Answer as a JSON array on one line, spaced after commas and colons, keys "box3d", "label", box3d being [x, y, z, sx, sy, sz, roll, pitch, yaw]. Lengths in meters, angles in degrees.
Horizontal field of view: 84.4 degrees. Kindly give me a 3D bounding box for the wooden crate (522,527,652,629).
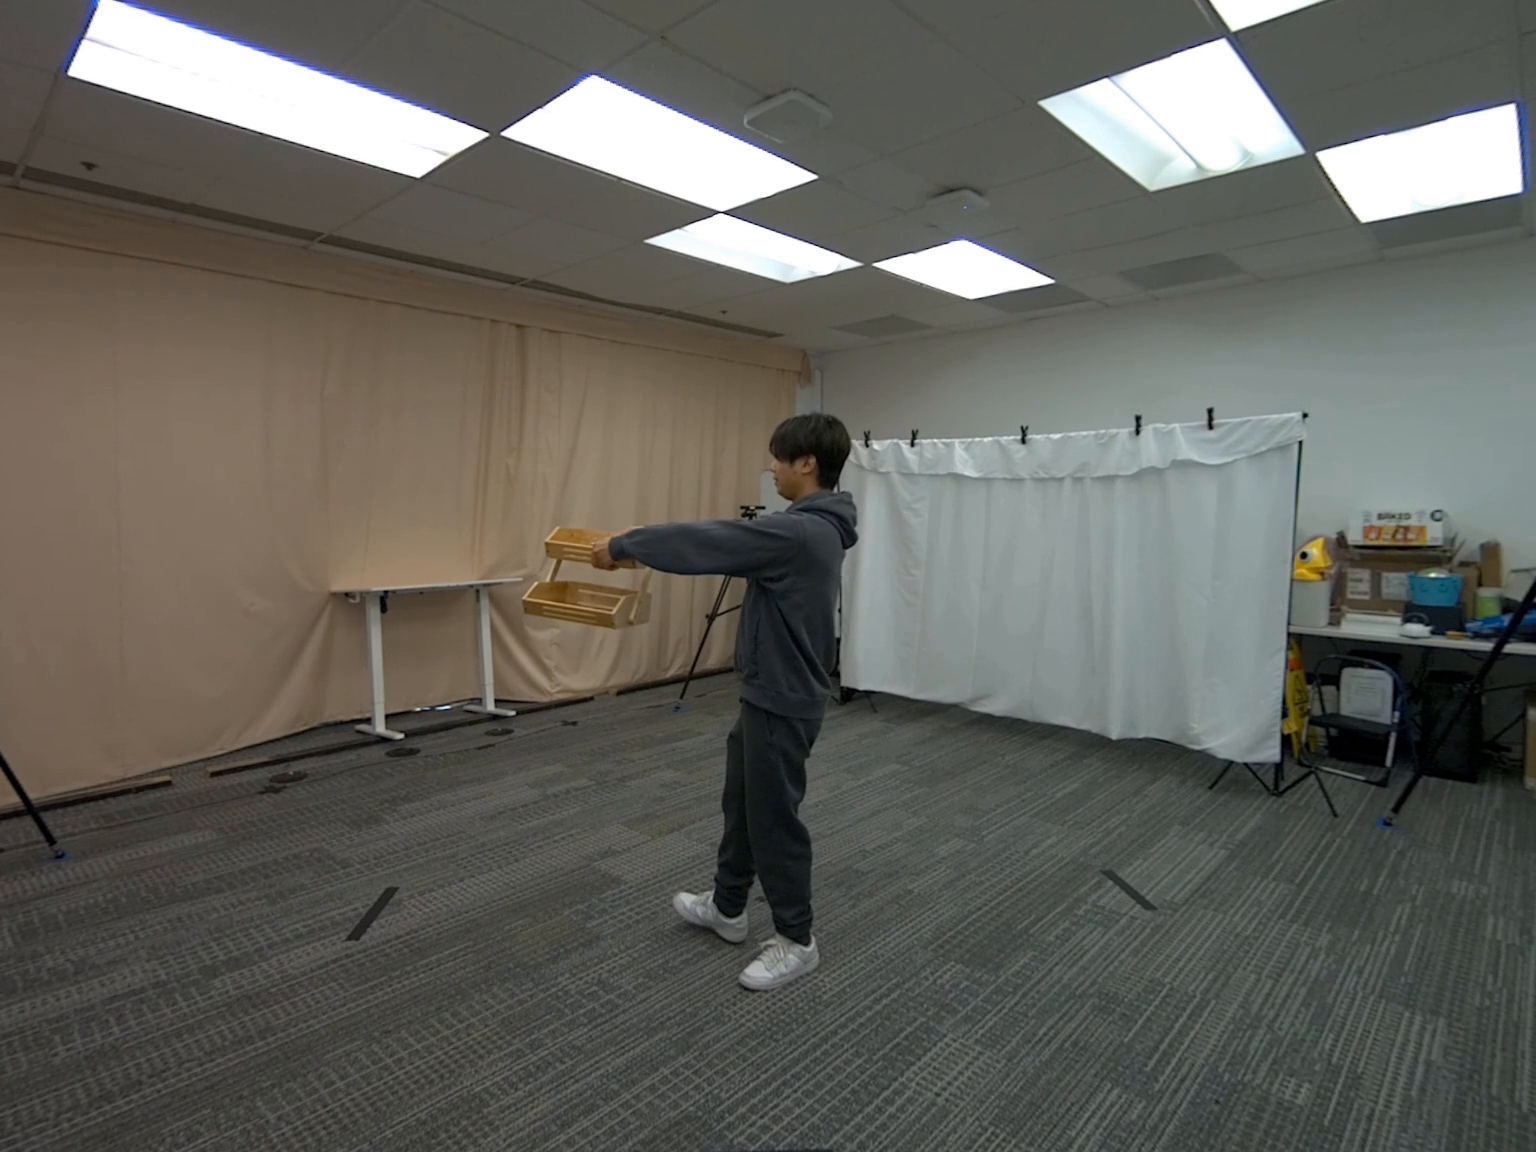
[{"box3d": [-0.521, -0.004, 2.549, 0.331, 0.273, 0.296, 8, 3, 19], "label": "wooden crate"}]
